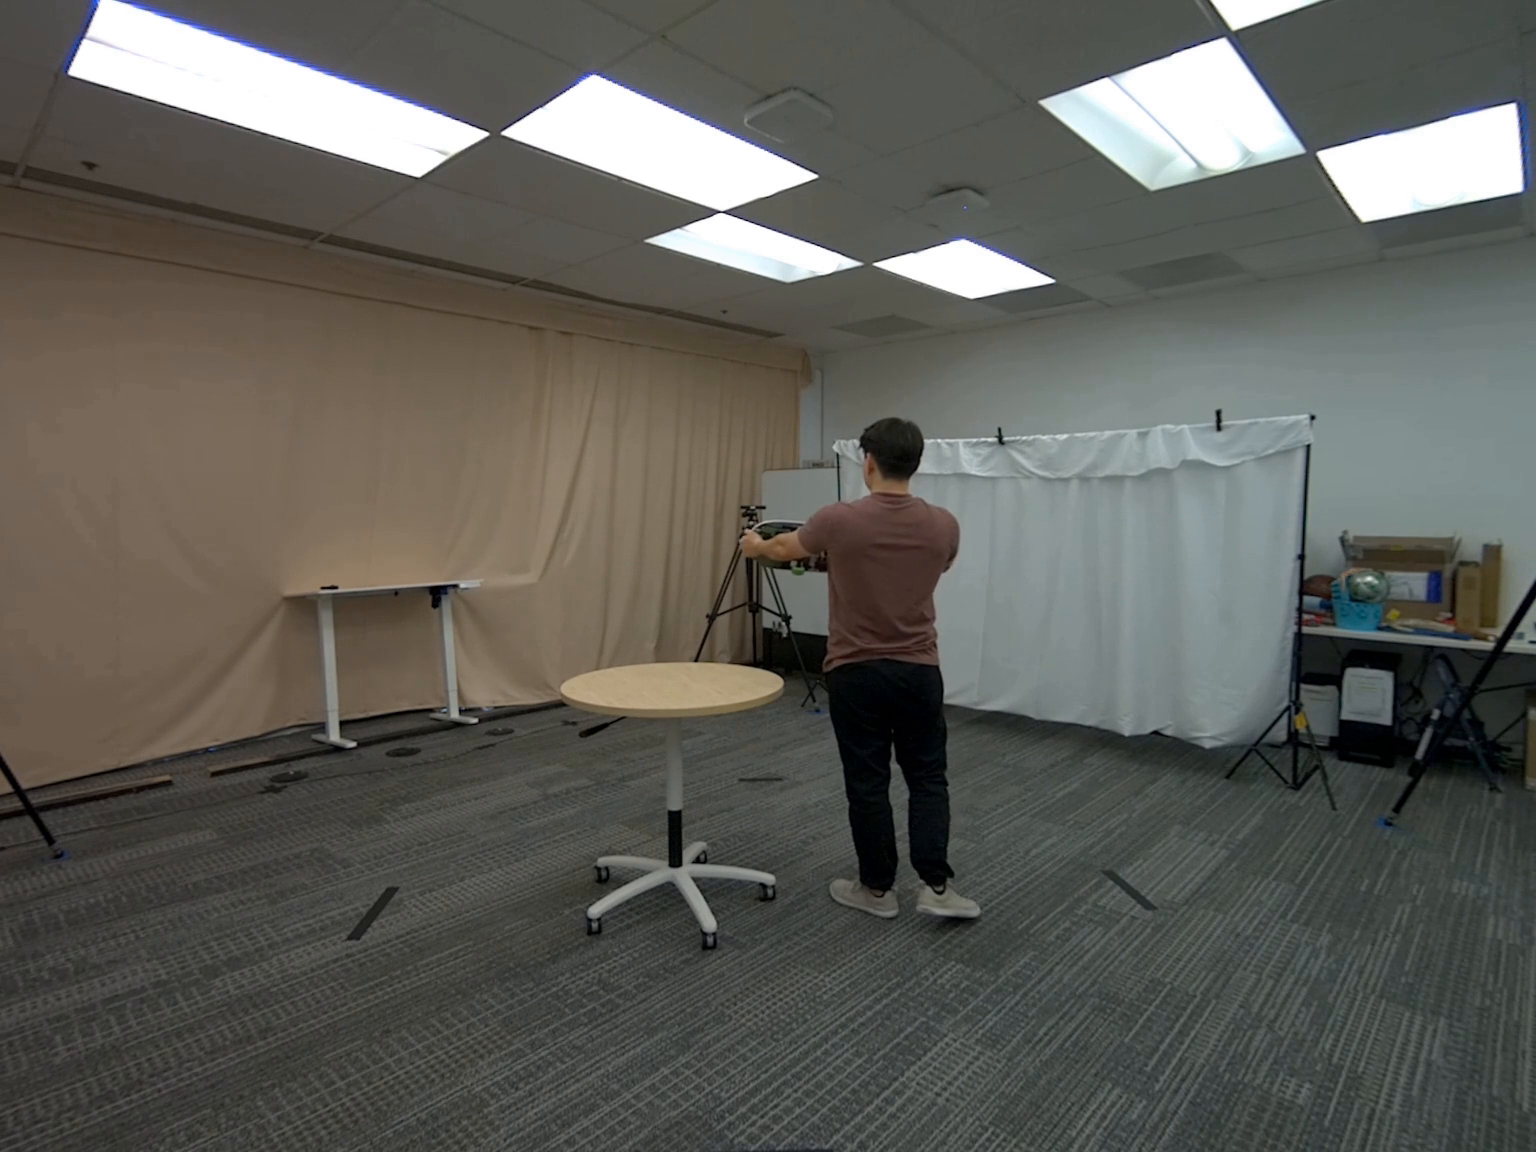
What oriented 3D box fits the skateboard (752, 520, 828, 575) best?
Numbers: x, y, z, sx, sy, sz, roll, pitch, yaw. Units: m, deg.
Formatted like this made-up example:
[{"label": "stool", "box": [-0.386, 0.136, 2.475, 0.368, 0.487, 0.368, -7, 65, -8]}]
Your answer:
[{"label": "skateboard", "box": [0.311, -0.089, 3.222, 0.780, 0.192, 0.112, 4, 12, -6]}]
